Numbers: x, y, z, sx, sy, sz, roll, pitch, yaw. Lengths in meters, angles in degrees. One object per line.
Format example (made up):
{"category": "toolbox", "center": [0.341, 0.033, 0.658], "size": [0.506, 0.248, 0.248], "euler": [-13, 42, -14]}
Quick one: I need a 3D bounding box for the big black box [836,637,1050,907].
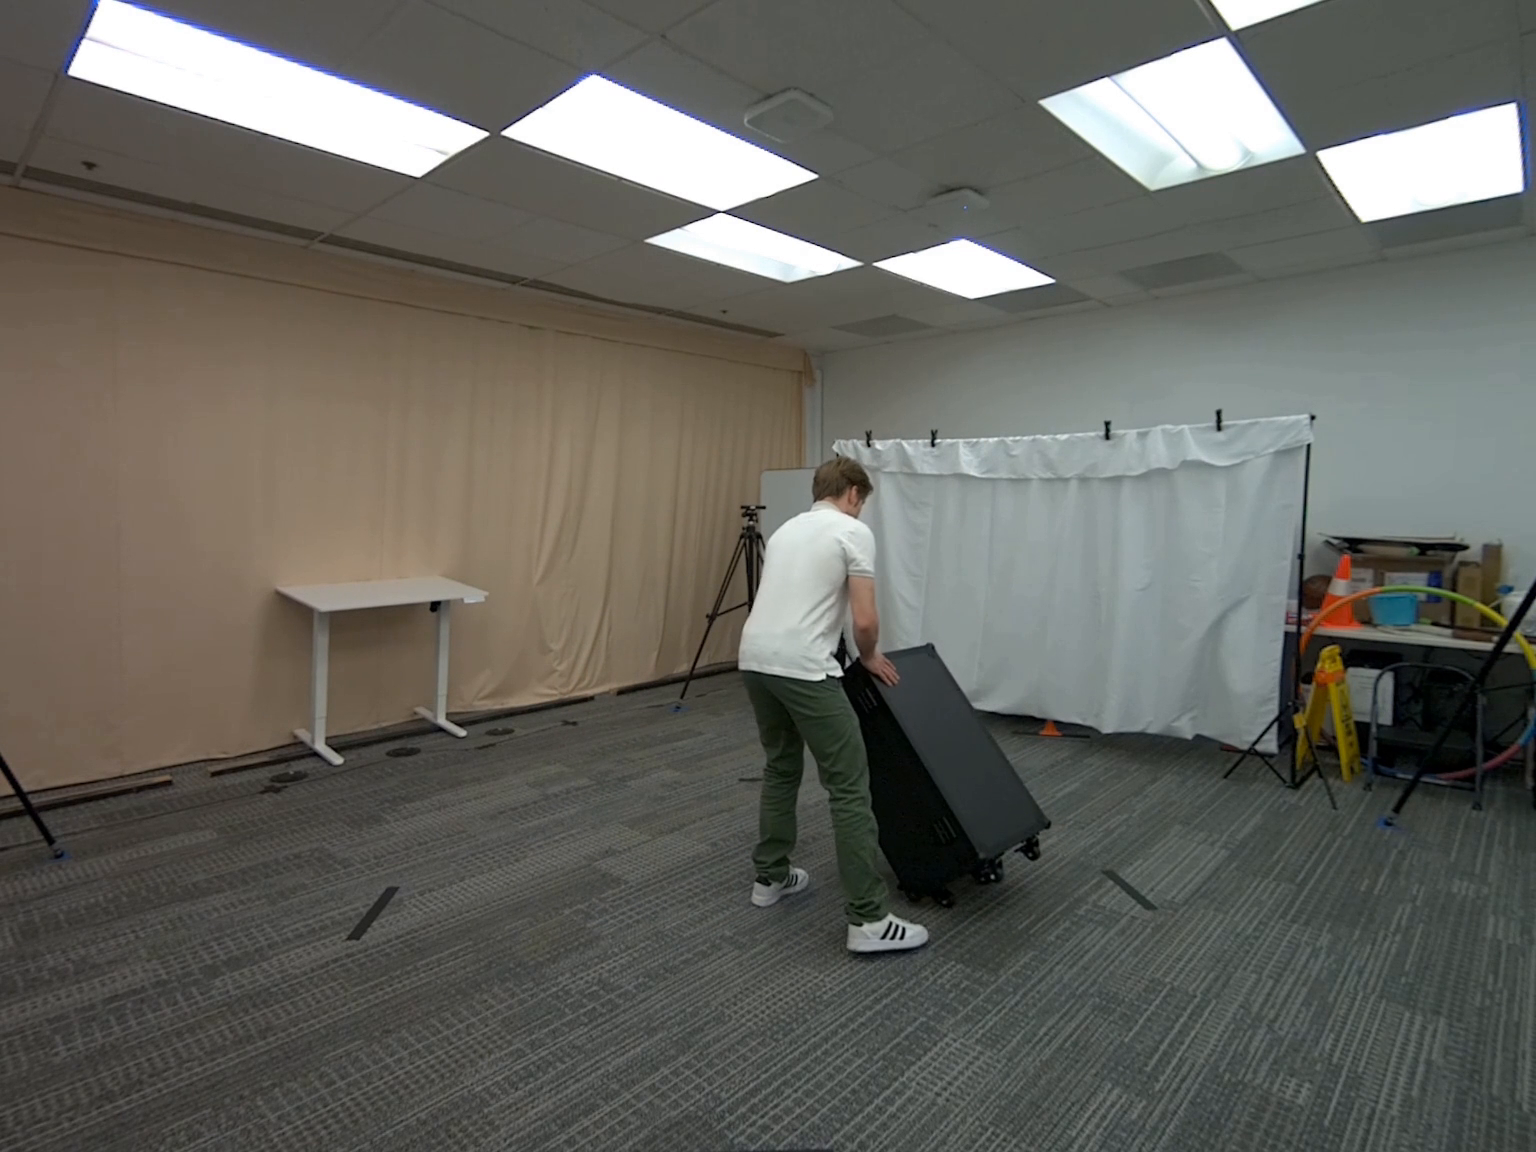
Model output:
{"category": "big black box", "center": [0.592, 0.729, 3.115], "size": [0.507, 0.890, 0.388], "euler": [-2, -36, -45]}
